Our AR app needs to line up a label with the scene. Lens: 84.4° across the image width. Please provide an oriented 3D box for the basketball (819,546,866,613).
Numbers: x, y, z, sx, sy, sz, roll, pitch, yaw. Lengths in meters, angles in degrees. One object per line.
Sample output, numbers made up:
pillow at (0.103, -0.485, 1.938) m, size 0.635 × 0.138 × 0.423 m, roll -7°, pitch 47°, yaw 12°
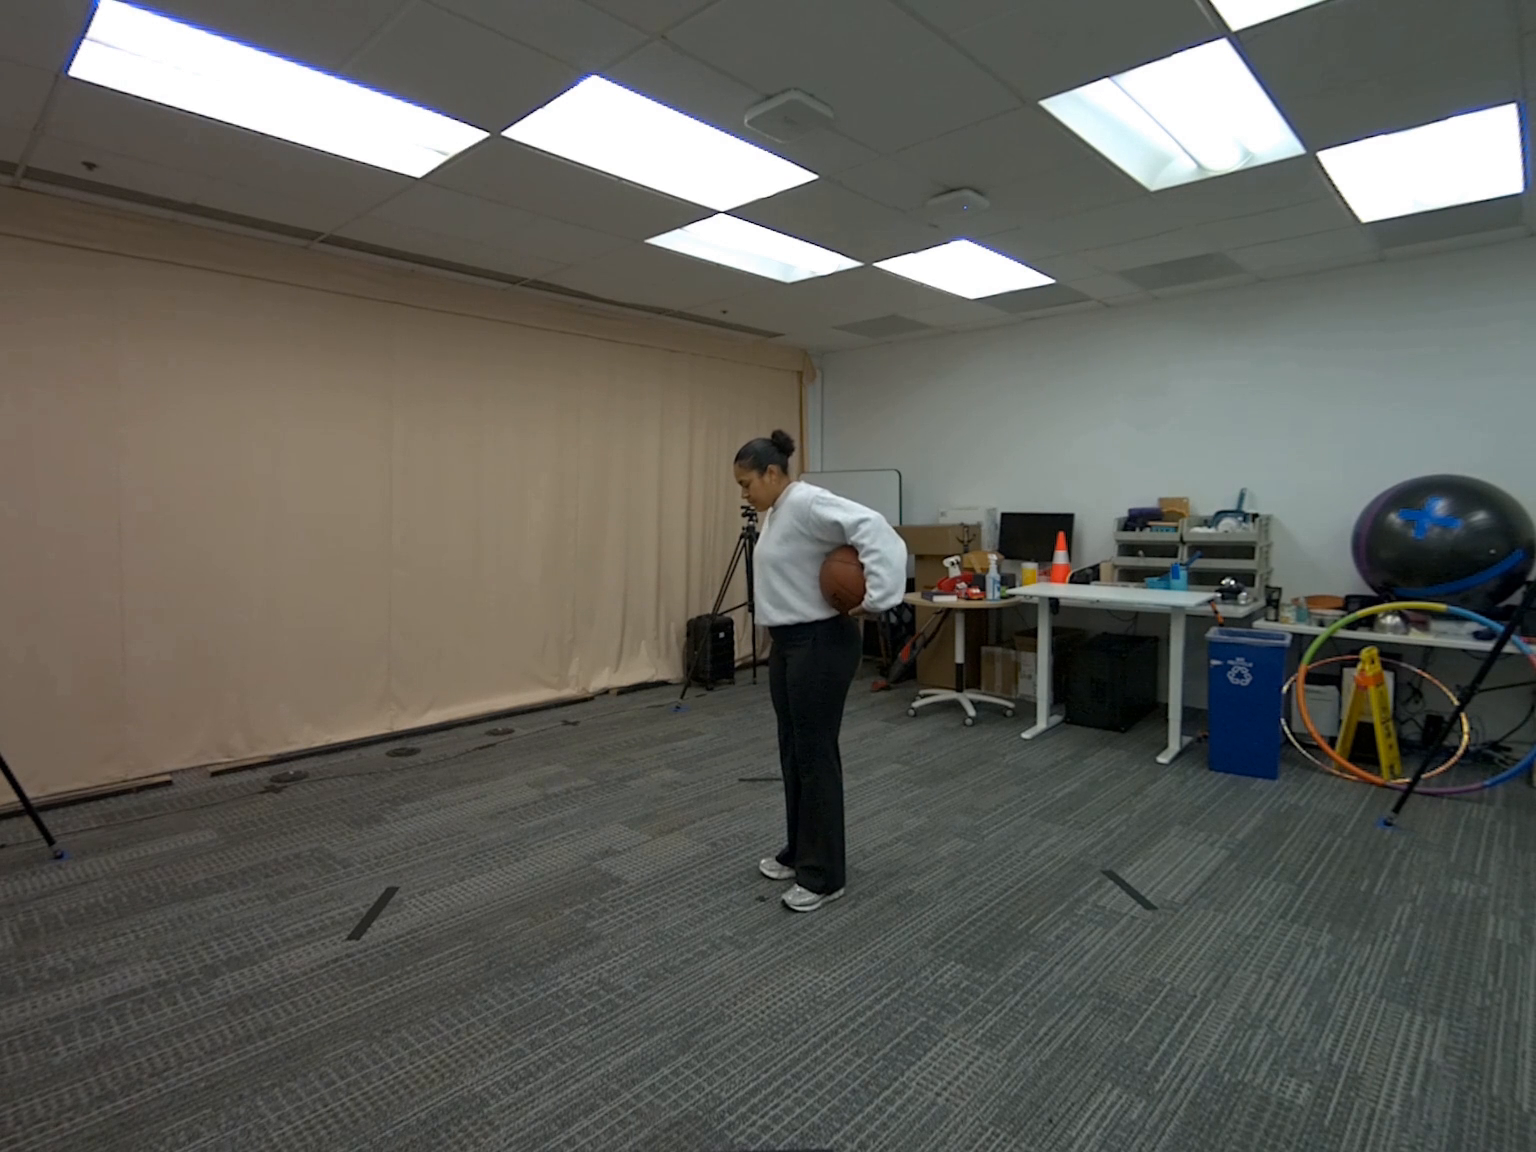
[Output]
basketball at (0.298, 0.012, 2.820) m, size 0.236 × 0.235 × 0.237 m, roll 0°, pitch 4°, yaw -2°
